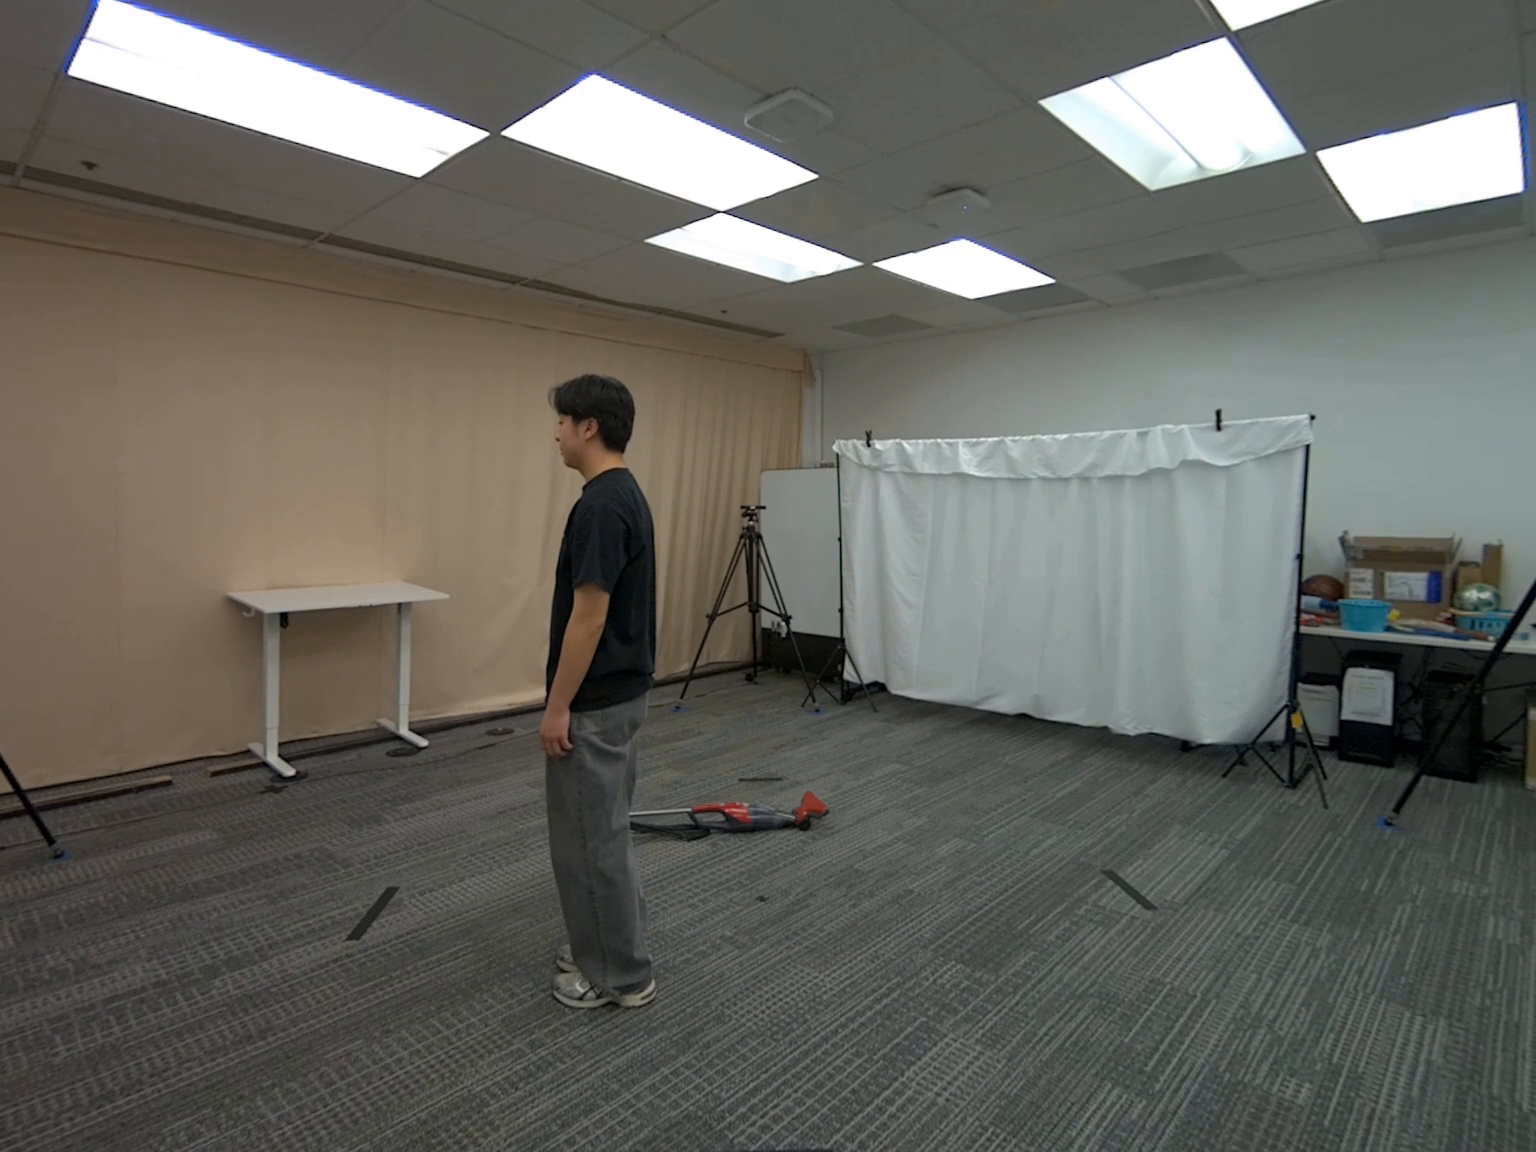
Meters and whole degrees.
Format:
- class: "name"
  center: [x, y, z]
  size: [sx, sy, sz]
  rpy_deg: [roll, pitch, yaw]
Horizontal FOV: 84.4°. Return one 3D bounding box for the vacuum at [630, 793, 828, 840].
- class: "vacuum"
  center: [-0.325, 1.040, 3.563]
  size: [1.037, 0.144, 0.256]
  rpy_deg: [-2, 2, -11]
